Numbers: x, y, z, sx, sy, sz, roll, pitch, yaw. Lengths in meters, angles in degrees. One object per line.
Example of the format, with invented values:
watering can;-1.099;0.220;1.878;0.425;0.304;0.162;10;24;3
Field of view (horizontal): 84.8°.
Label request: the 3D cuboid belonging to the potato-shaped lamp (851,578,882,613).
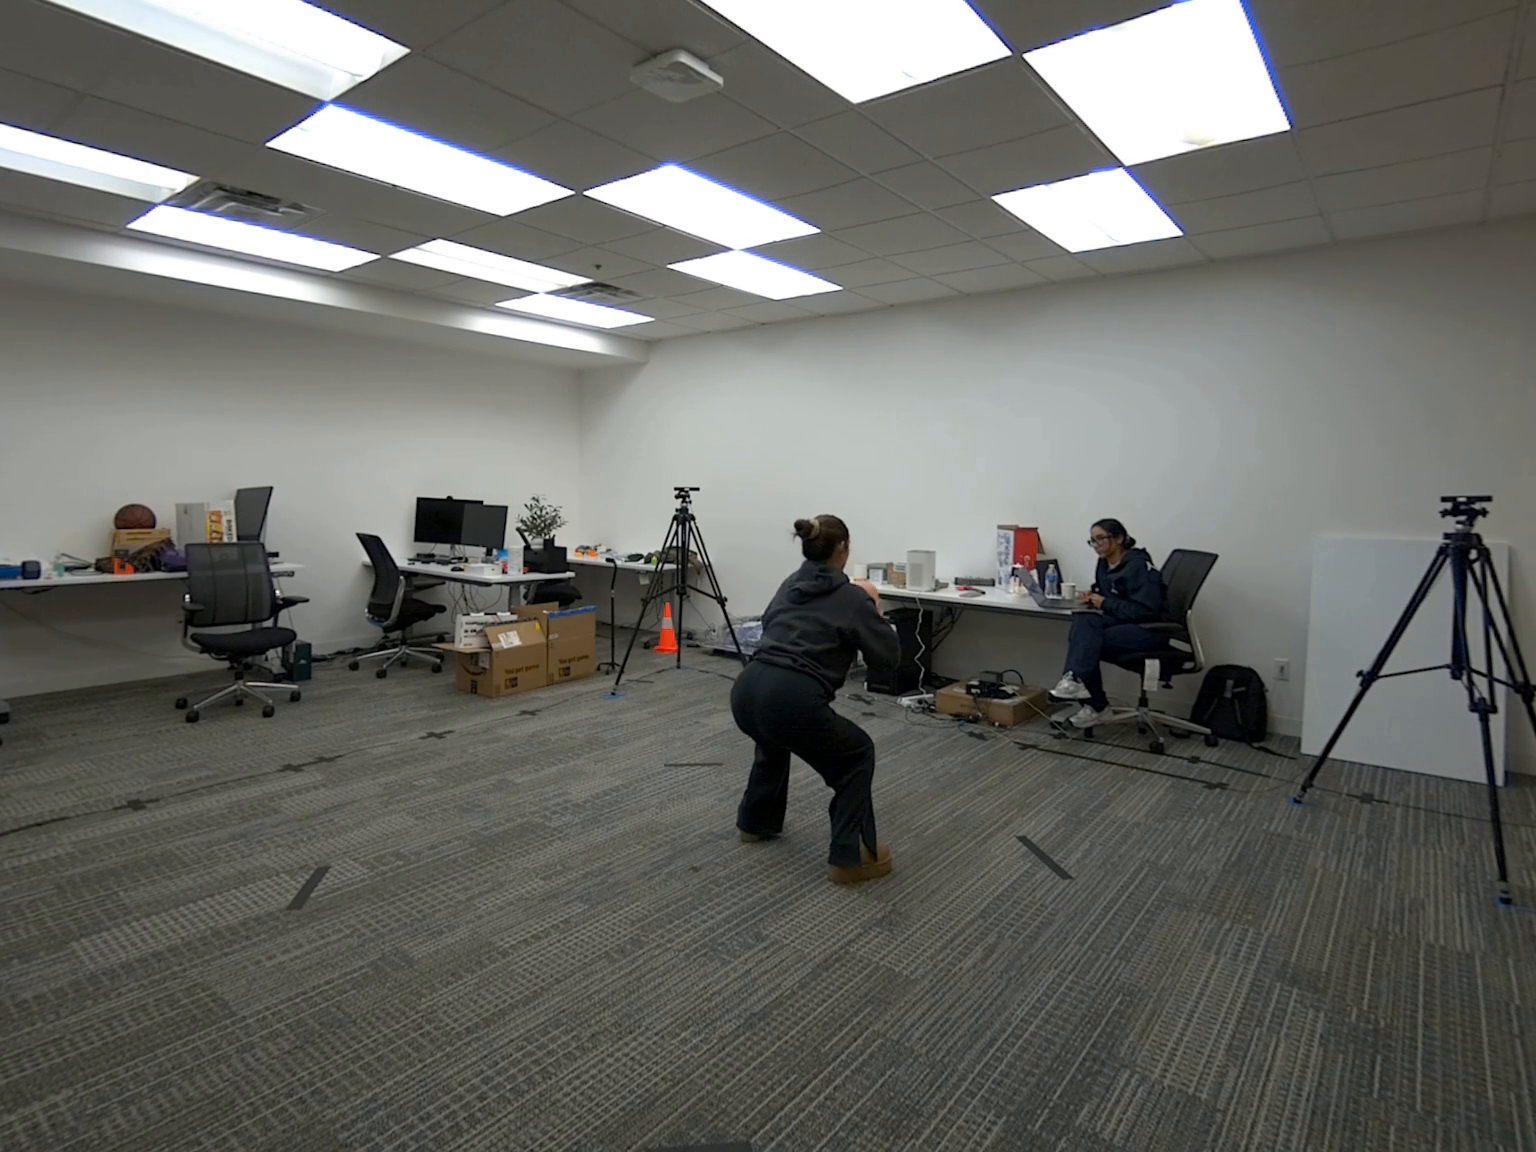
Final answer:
potato-shaped lamp;0.373;0.143;3.455;0.165;0.198;0.170;22;-5;-32
